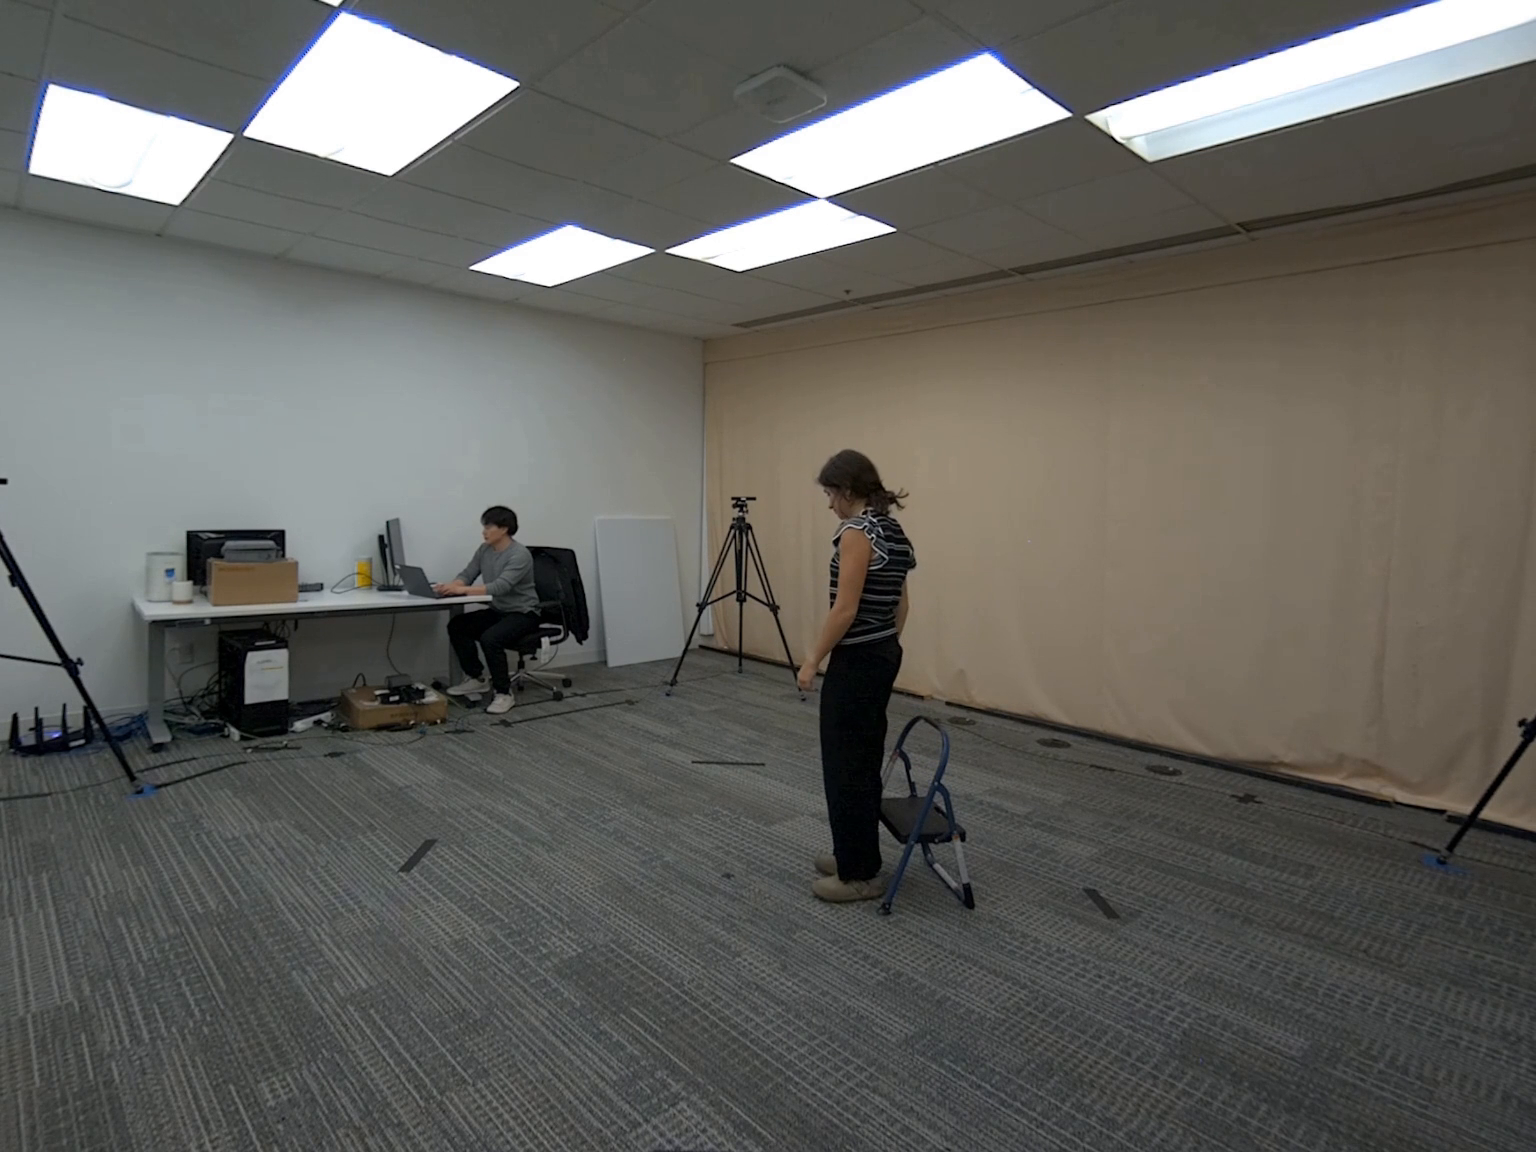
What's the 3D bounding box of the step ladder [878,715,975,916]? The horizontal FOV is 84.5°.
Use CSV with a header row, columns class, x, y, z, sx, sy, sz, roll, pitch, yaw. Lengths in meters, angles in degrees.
class,x,y,z,sx,sy,sz,roll,pitch,yaw
step ladder,0.511,0.828,3.052,0.346,0.604,0.435,0,4,-11
